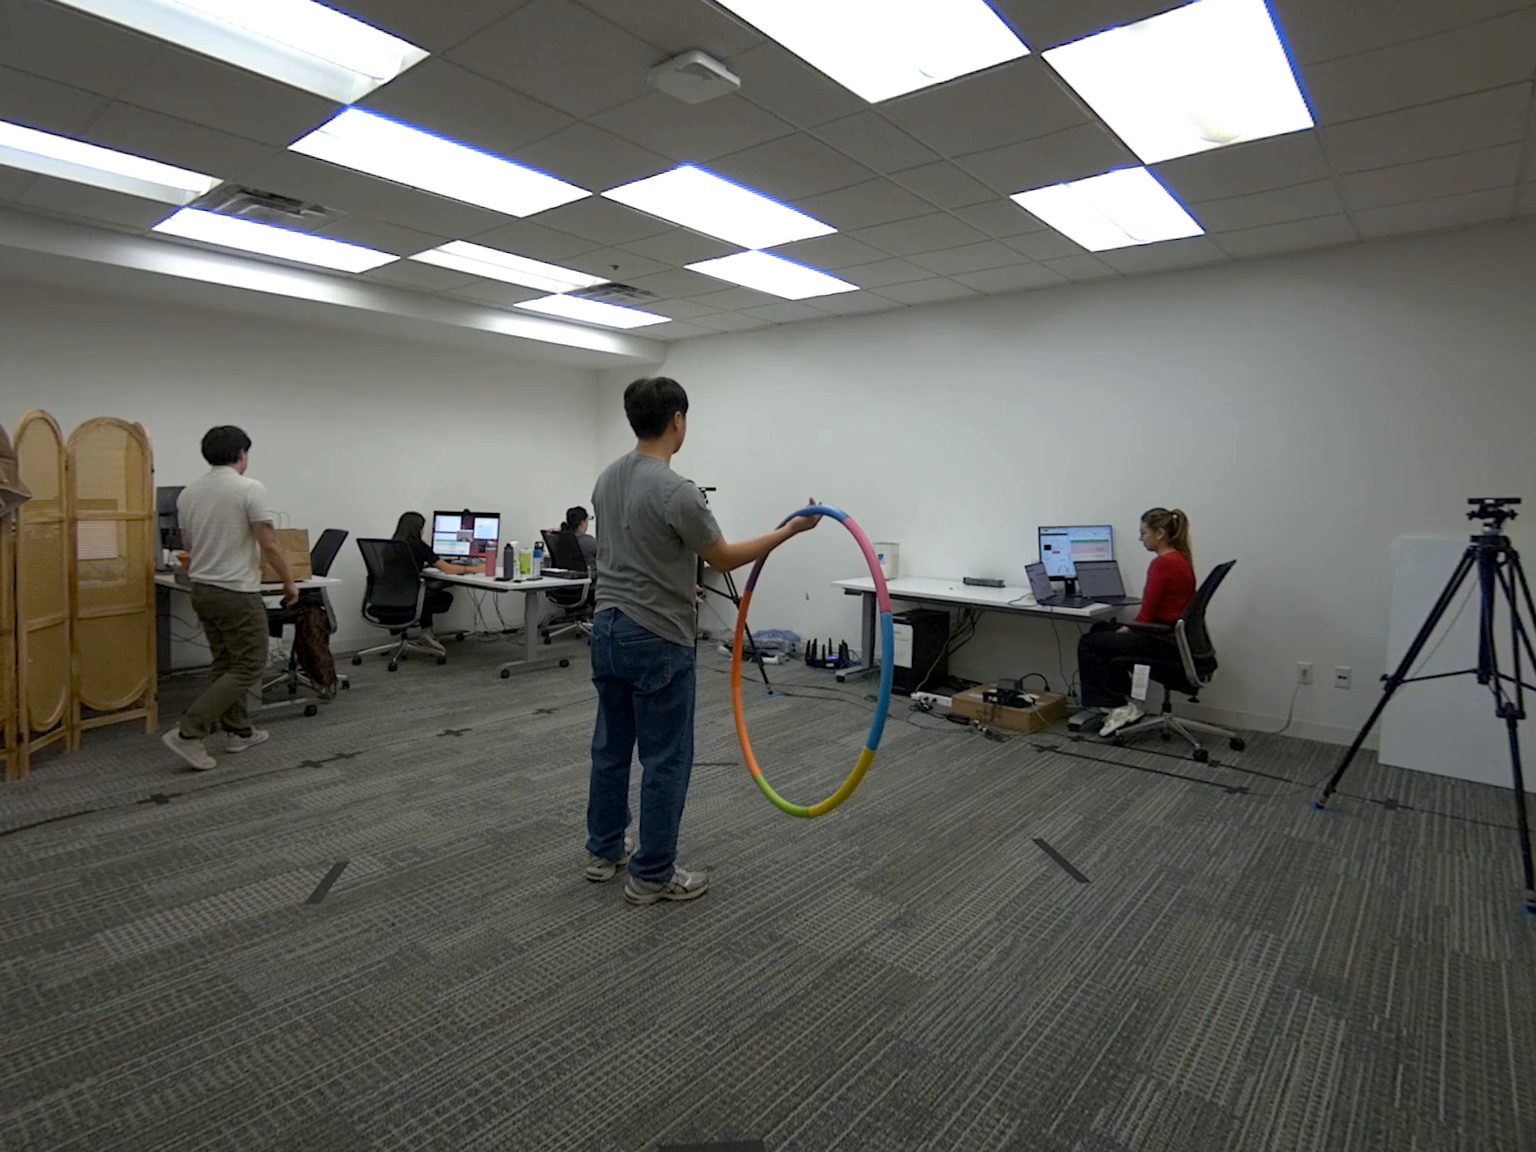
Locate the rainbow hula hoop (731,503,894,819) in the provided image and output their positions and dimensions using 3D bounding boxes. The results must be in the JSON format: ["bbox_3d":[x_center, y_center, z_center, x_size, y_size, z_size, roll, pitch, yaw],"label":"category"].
[{"bbox_3d":[0.100,0.252,2.759,0.034,0.979,1.005,10,0,-26],"label":"rainbow hula hoop"}]
